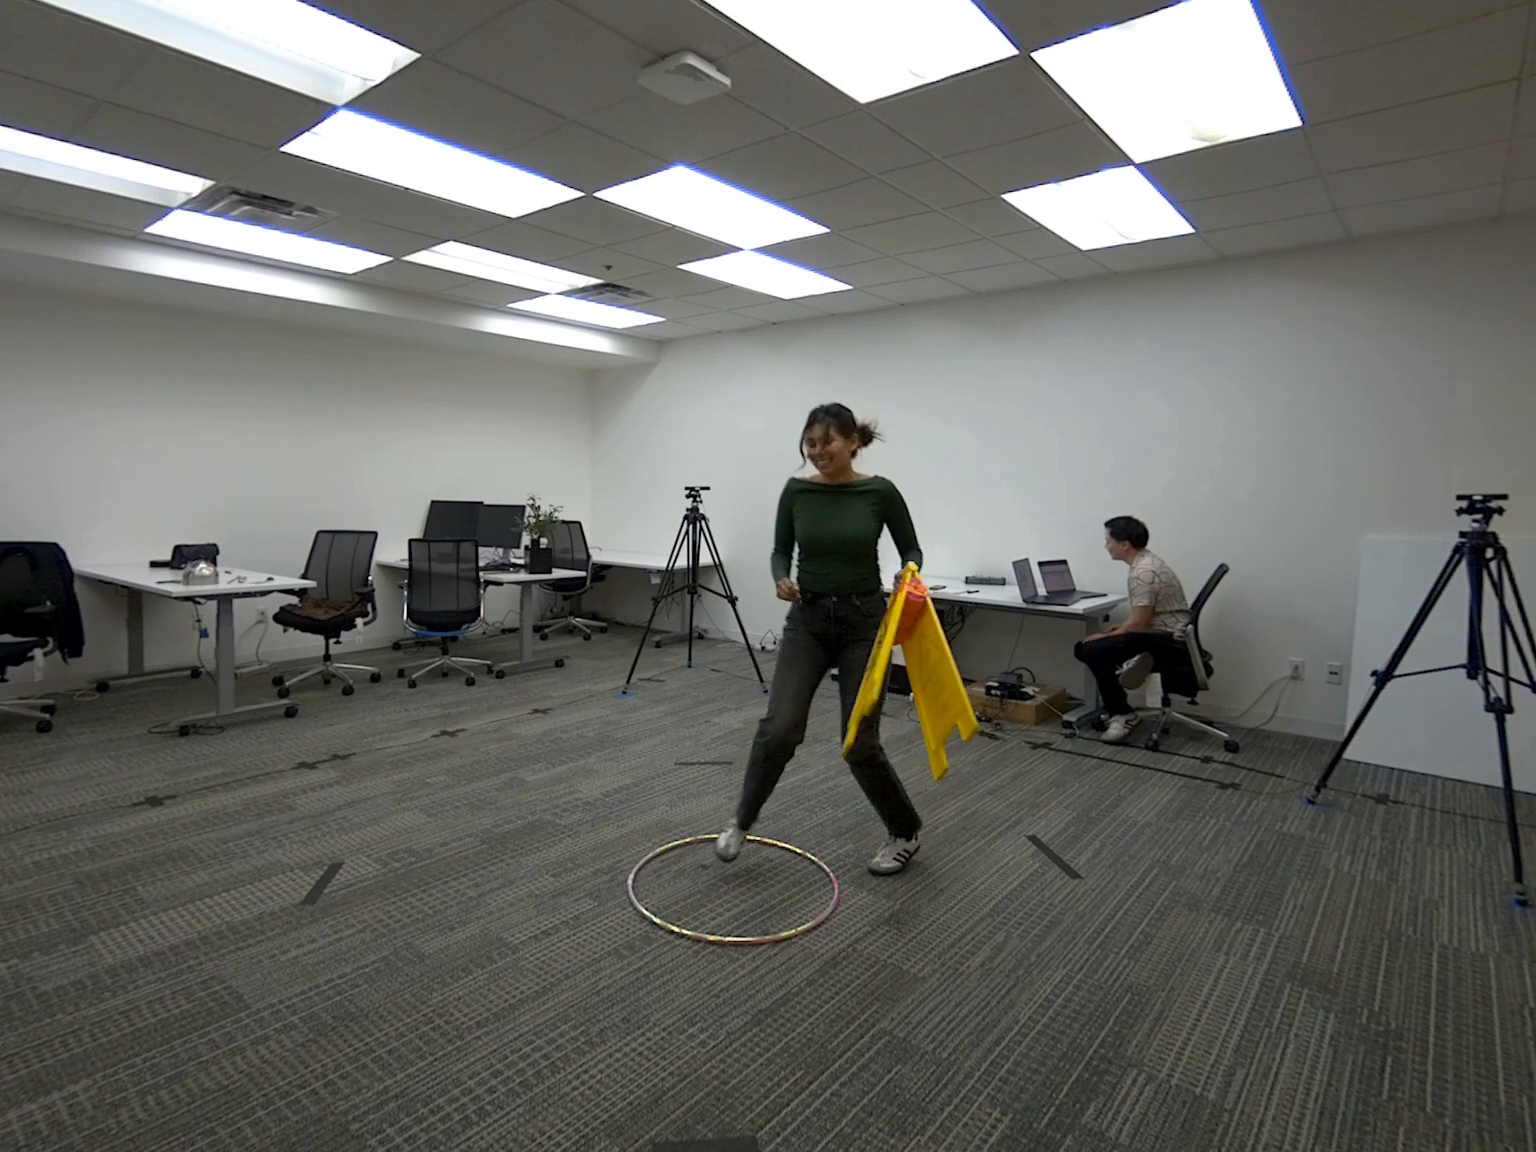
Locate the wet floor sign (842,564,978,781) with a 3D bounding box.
[{"bbox_3d":[0.398,0.252,2.617,0.288,0.277,0.661,13,42,-6],"label":"wet floor sign"}]
